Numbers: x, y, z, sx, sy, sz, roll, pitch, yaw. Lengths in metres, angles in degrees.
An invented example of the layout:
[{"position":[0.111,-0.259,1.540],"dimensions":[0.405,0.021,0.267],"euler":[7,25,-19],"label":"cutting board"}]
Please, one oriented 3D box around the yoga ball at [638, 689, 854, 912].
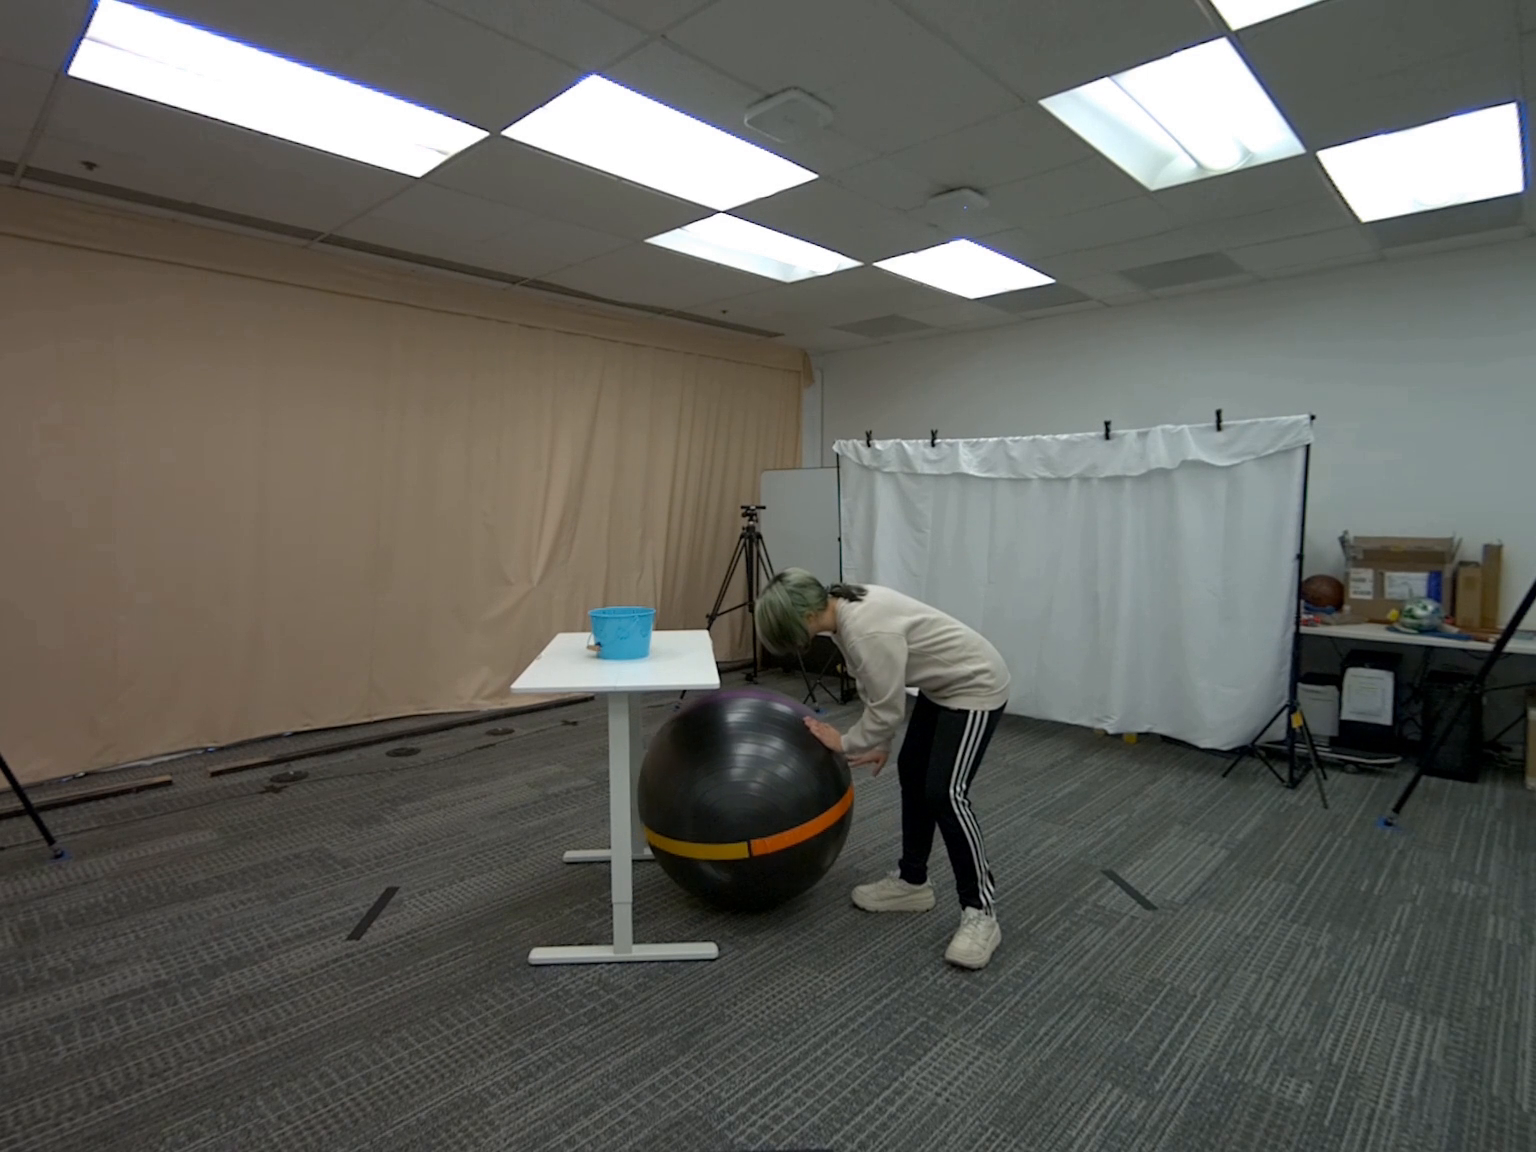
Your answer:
[{"position":[-0.079,0.776,2.977],"dimensions":[0.757,0.756,0.760],"euler":[0,4,-2],"label":"yoga ball"}]
